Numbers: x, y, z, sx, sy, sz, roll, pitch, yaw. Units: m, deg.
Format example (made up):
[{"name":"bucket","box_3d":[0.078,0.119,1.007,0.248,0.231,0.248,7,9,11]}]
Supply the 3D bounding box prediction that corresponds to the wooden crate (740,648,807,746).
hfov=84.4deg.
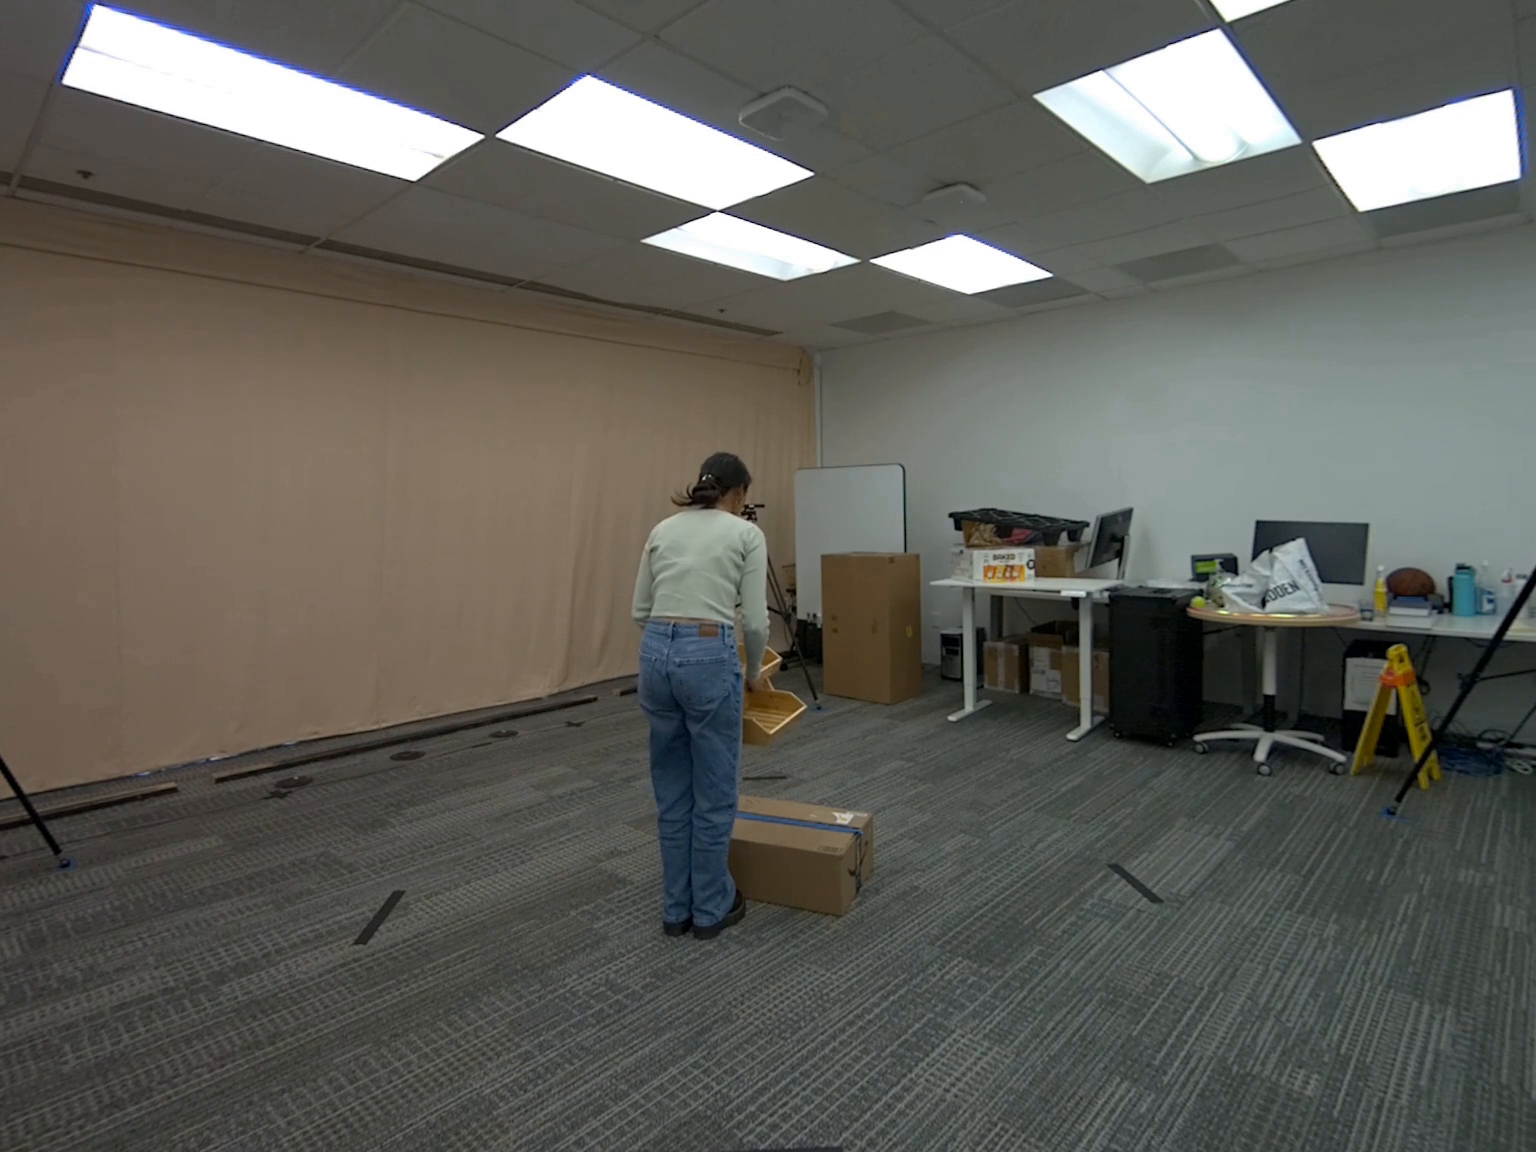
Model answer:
[{"name":"wooden crate","box_3d":[-0.052,0.418,2.999,0.311,0.271,0.317,2,11,30]}]
